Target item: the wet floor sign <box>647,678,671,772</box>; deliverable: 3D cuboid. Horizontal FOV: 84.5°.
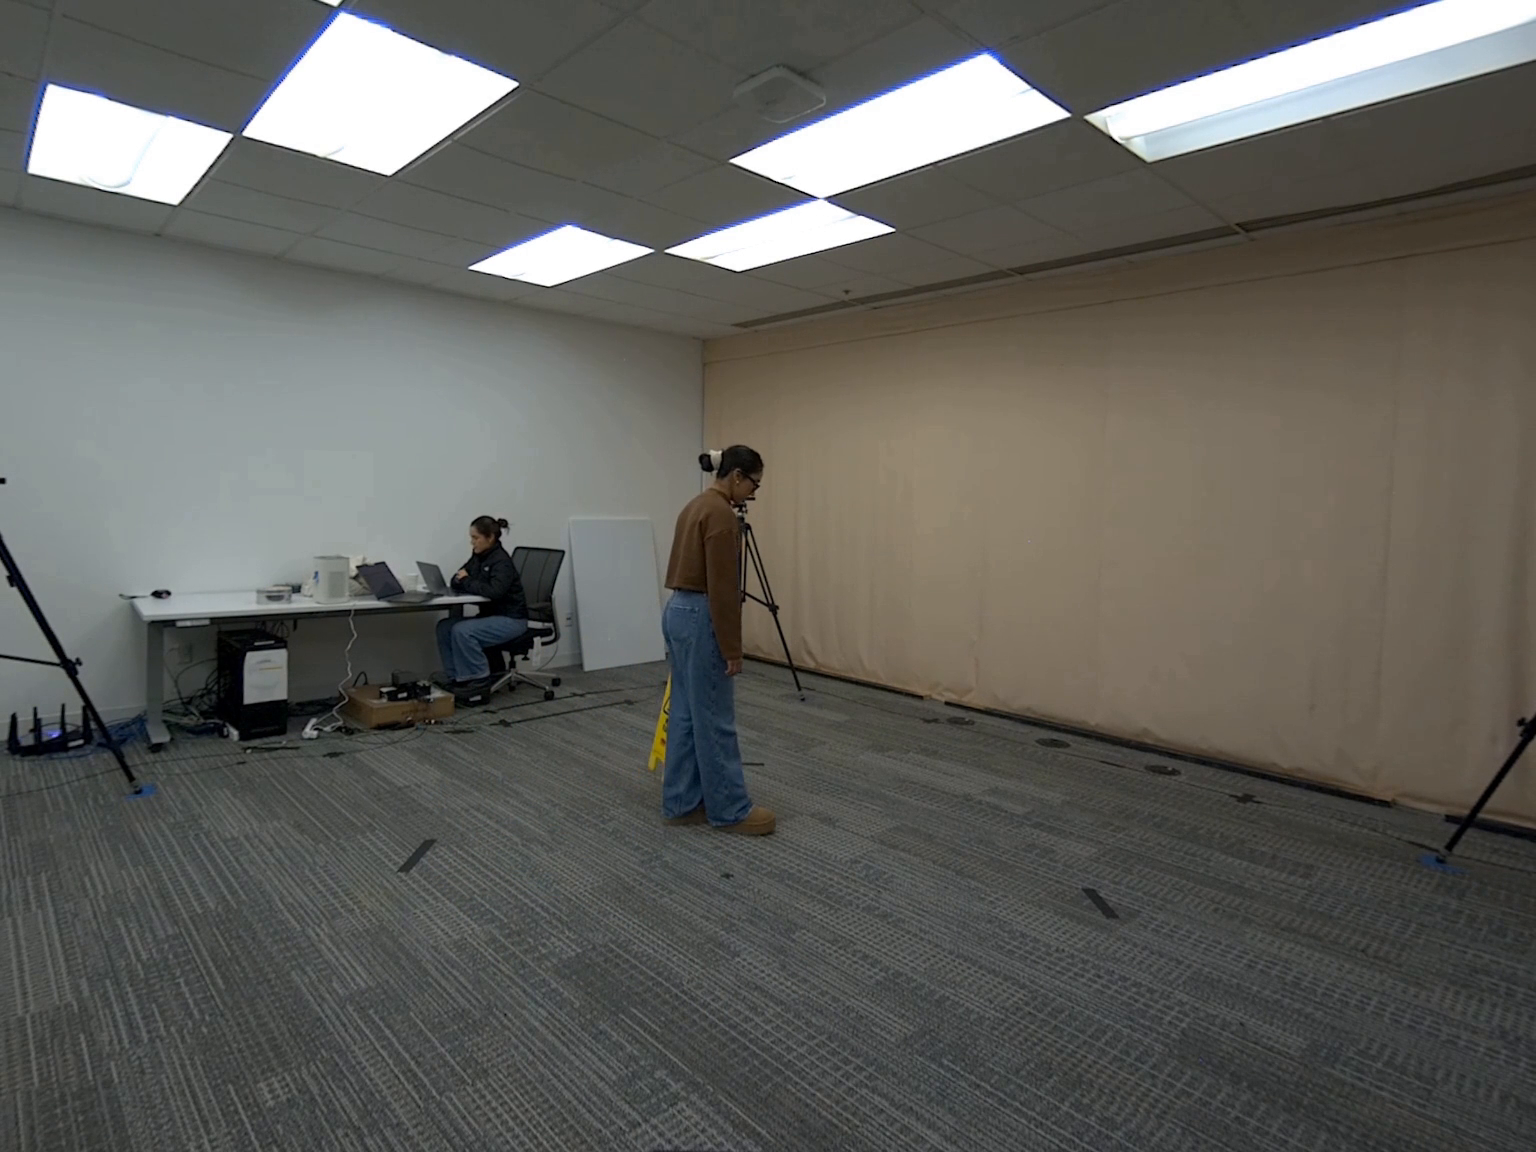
[{"bbox_3d":[-0.387,0.608,3.925,0.284,0.644,0.288,0,6,-26],"label":"wet floor sign"}]
